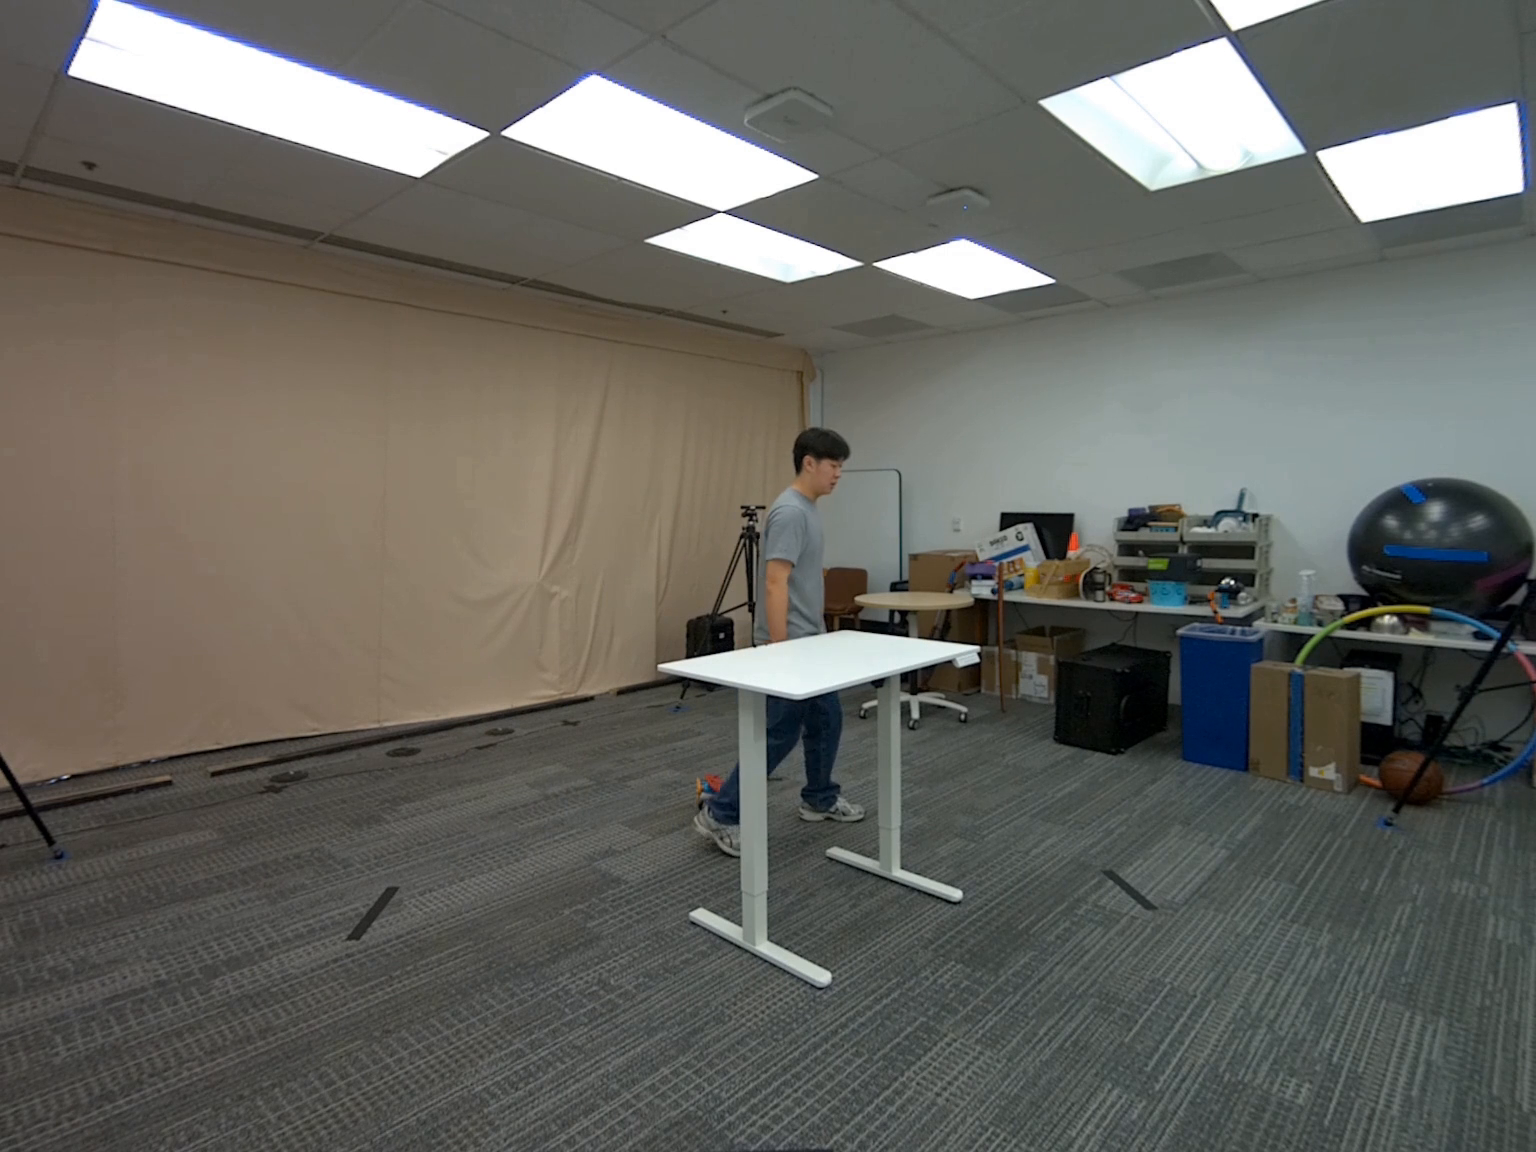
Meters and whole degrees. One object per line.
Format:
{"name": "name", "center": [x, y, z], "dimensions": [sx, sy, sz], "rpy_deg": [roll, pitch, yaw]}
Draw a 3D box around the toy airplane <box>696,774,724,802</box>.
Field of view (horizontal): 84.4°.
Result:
{"name": "toy airplane", "center": [-0.207, 1.004, 3.849], "dimensions": [0.251, 0.156, 0.259], "rpy_deg": [-5, 6, -45]}
